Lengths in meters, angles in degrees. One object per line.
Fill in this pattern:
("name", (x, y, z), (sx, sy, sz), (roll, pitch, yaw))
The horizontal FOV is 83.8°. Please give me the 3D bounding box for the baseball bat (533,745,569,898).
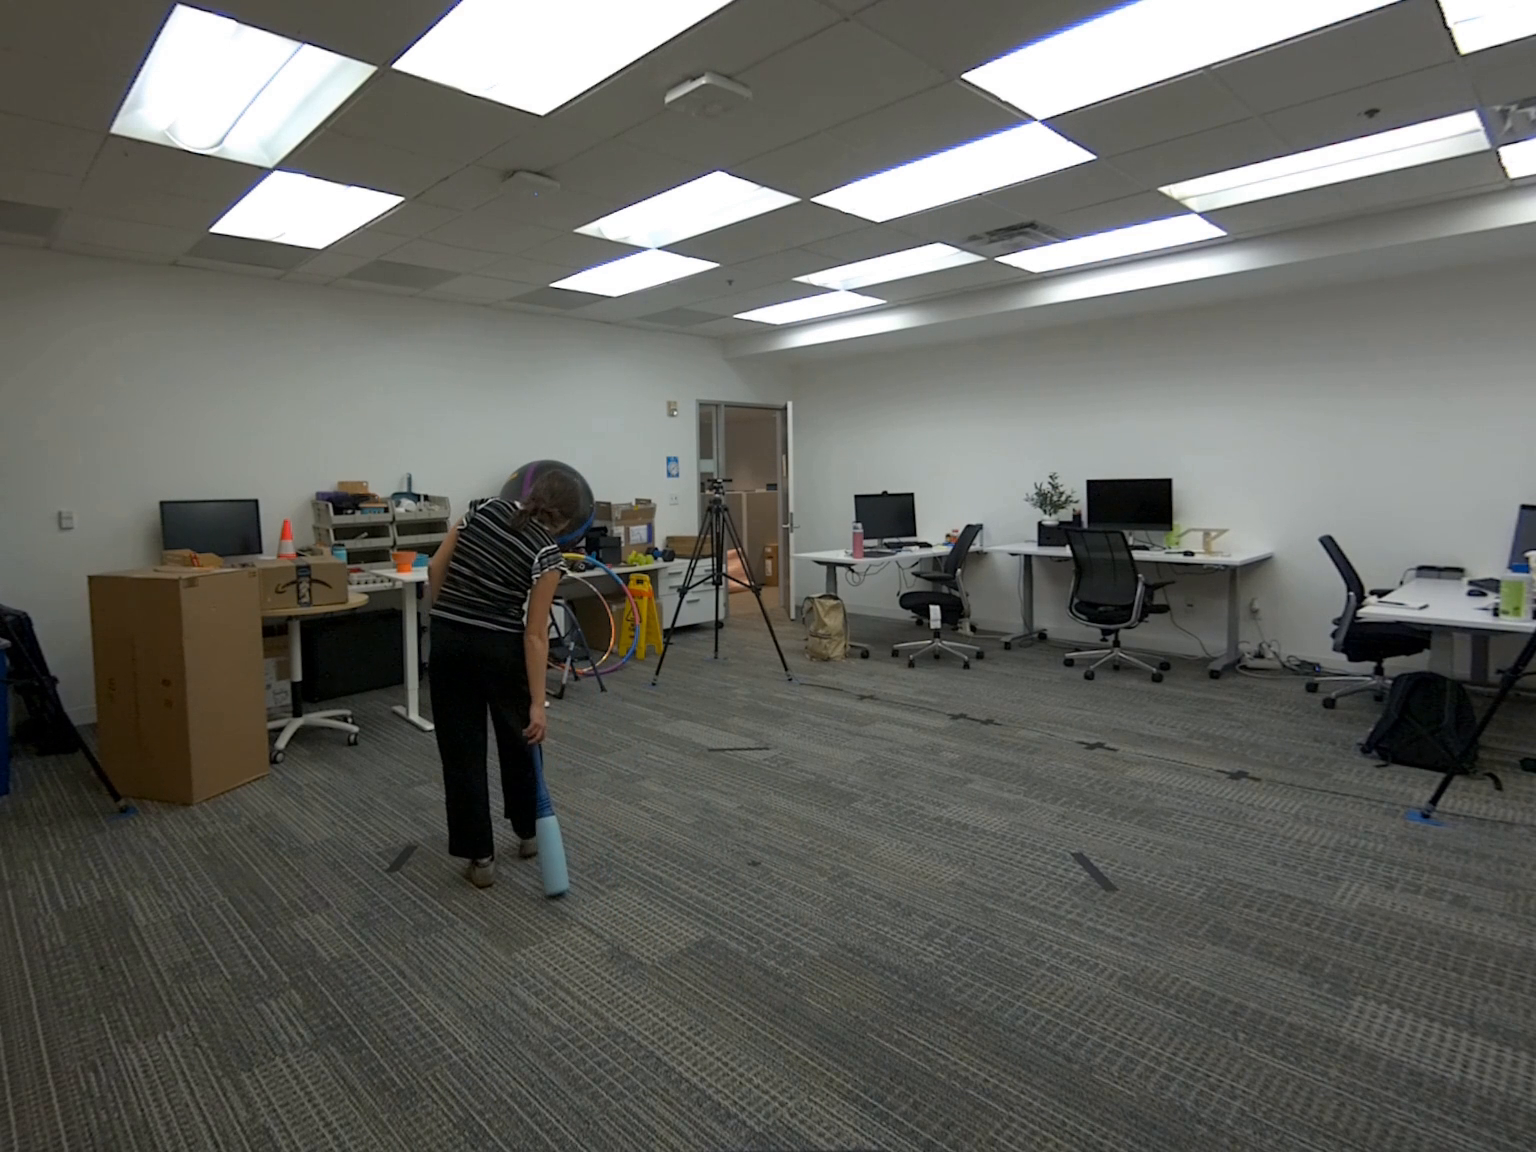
("baseball bat", (-0.774, 0.820, 2.969), (0.089, 0.555, 0.087), (-13, -20, -6))
